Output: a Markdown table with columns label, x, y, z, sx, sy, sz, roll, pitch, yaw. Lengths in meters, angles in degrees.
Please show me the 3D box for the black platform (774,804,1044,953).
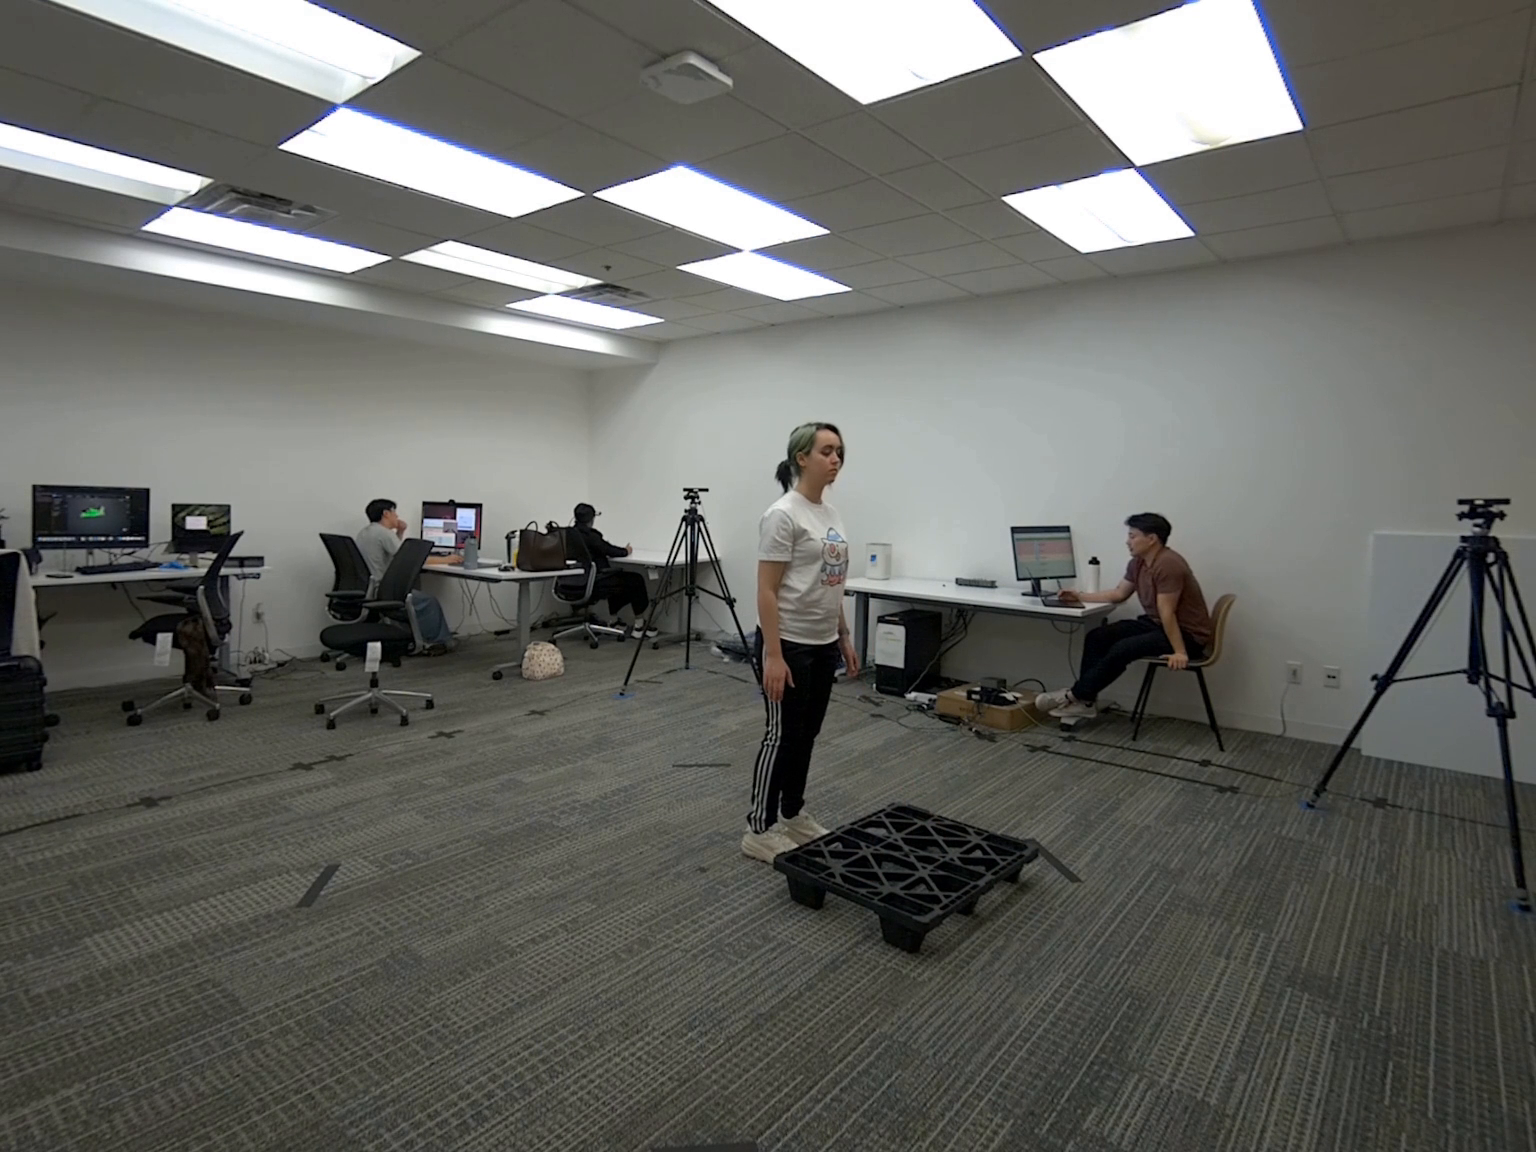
| label | x | y | z | sx | sy | sz | roll | pitch | yaw |
| --- | --- | --- | --- | --- | --- | --- | --- | --- | --- |
| black platform | 0.480 | 1.033 | 2.984 | 0.626 | 0.143 | 0.781 | 6 | 7 | 42 |
